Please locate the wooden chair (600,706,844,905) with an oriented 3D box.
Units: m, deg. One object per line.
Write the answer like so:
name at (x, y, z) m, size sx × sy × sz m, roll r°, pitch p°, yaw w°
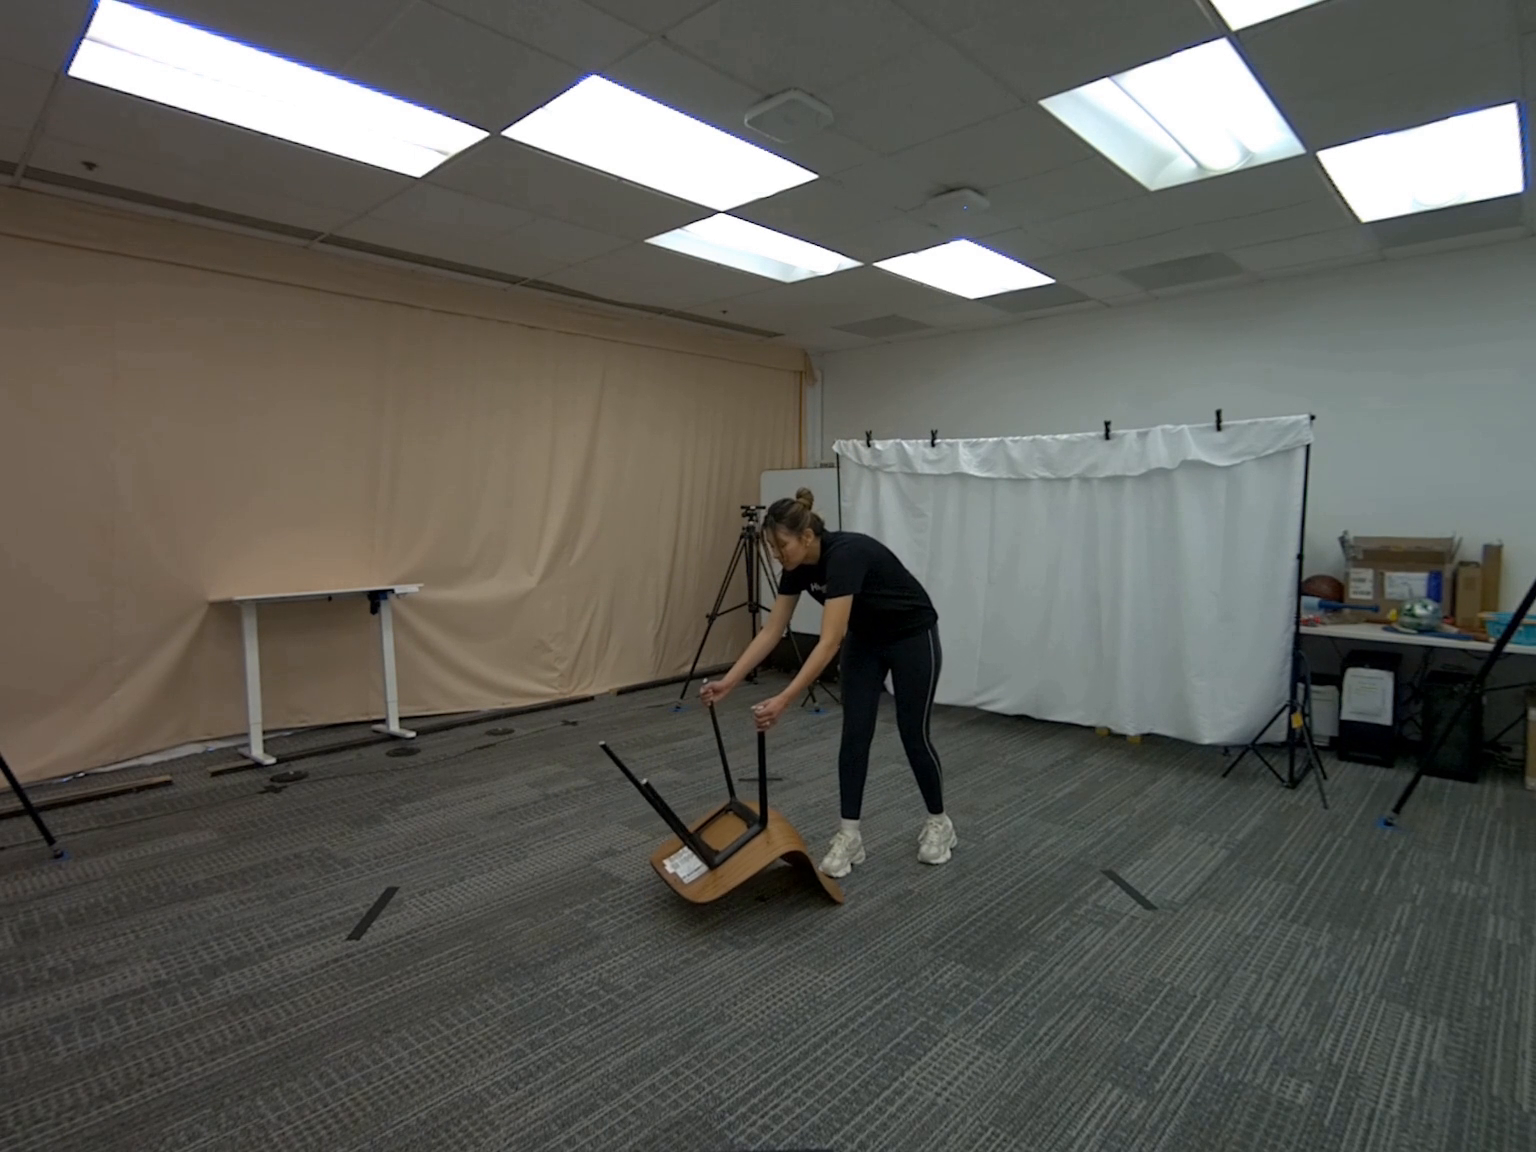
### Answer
wooden chair at (-0.154, 0.893, 2.927) m, size 0.517 × 0.864 × 0.491 m, roll -32°, pitch 16°, yaw -22°
